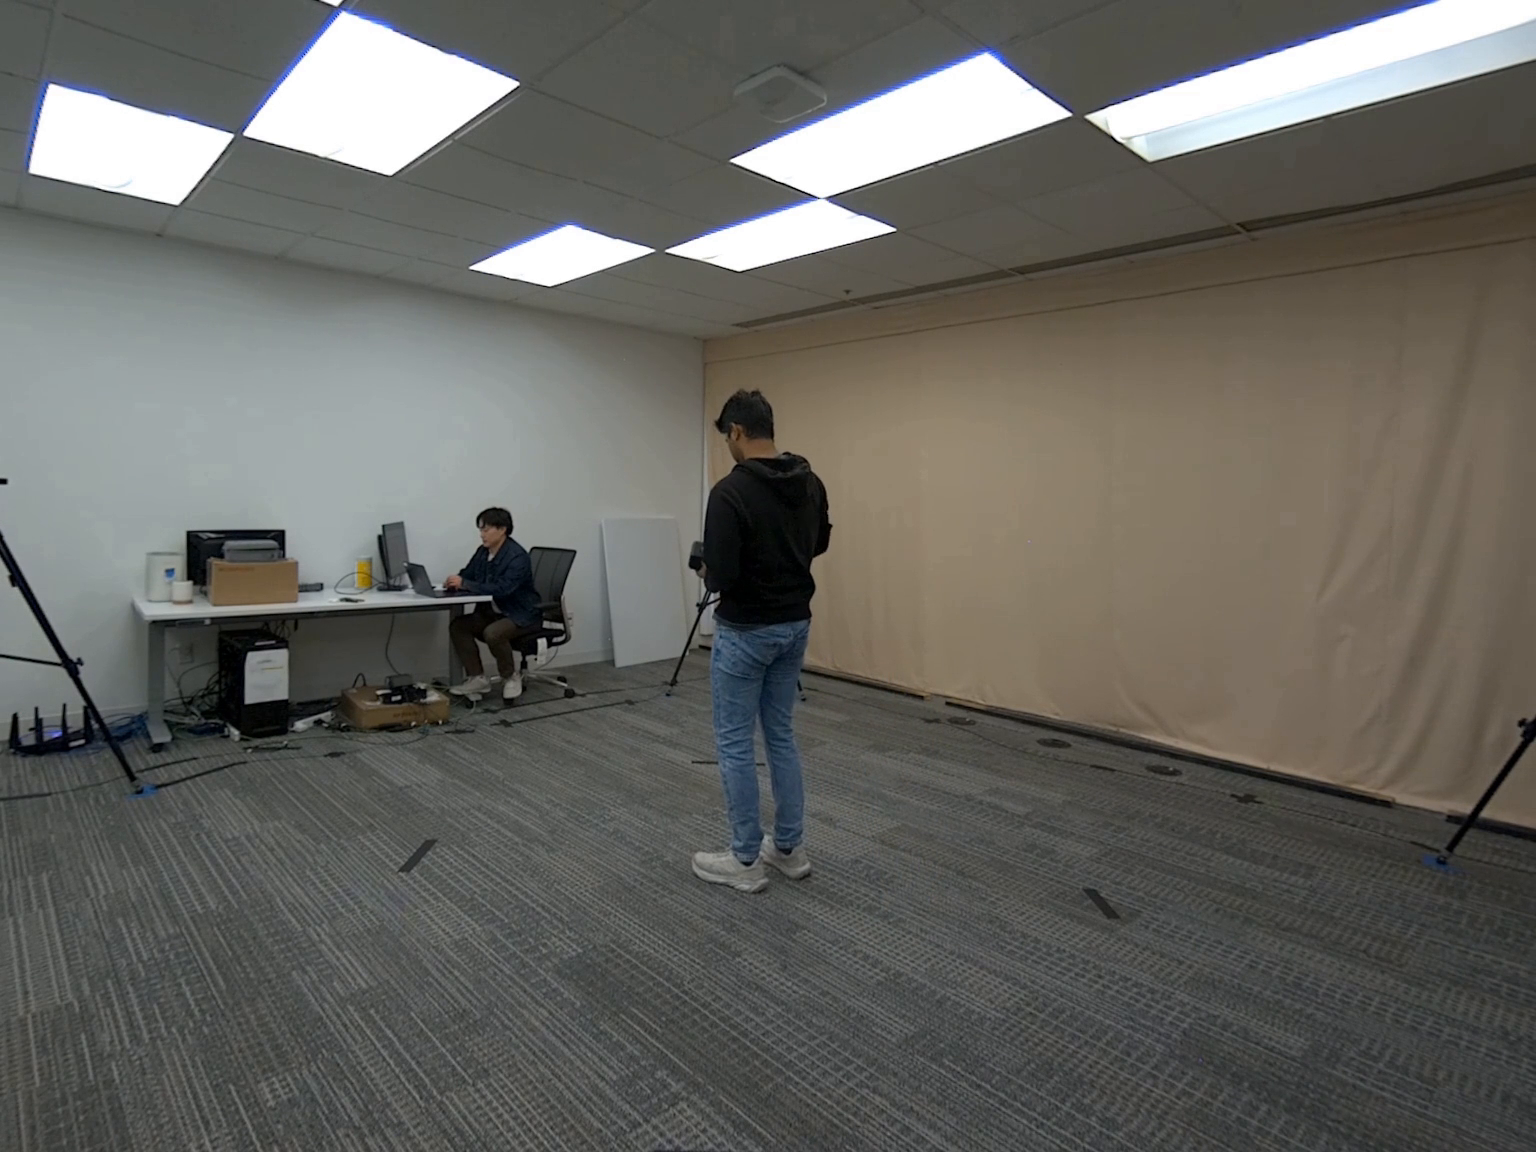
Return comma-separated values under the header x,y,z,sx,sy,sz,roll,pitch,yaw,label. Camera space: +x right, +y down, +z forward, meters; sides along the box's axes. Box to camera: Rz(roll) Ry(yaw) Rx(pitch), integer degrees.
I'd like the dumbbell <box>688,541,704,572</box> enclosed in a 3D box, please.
x,y,z,sx,sy,sz,roll,pitch,yaw,label
-0.152,-0.053,3.210,0.291,0.108,0.124,11,4,-9,dumbbell
